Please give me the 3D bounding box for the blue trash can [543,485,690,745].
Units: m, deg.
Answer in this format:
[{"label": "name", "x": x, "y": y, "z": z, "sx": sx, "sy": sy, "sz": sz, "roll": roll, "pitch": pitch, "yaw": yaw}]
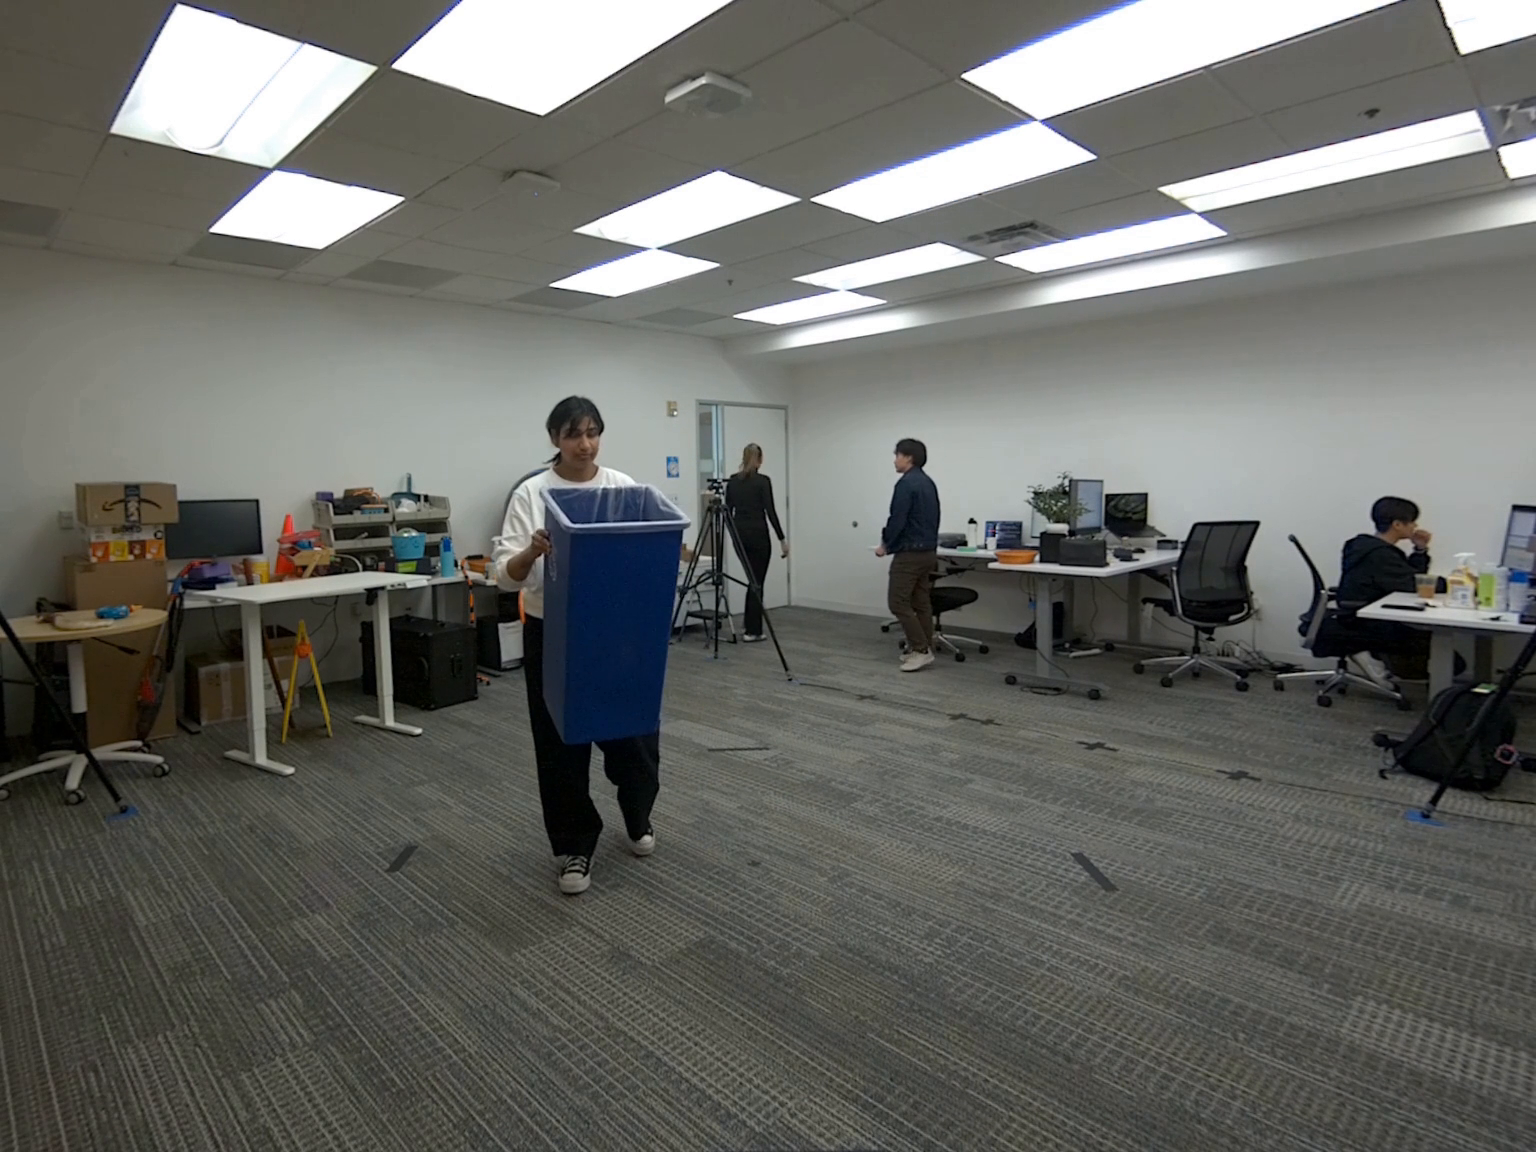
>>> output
[{"label": "blue trash can", "x": -0.491, "y": 0.116, "z": 2.624, "sx": 0.370, "sy": 0.703, "sz": 0.388, "roll": -3, "pitch": 21, "yaw": -26}]
